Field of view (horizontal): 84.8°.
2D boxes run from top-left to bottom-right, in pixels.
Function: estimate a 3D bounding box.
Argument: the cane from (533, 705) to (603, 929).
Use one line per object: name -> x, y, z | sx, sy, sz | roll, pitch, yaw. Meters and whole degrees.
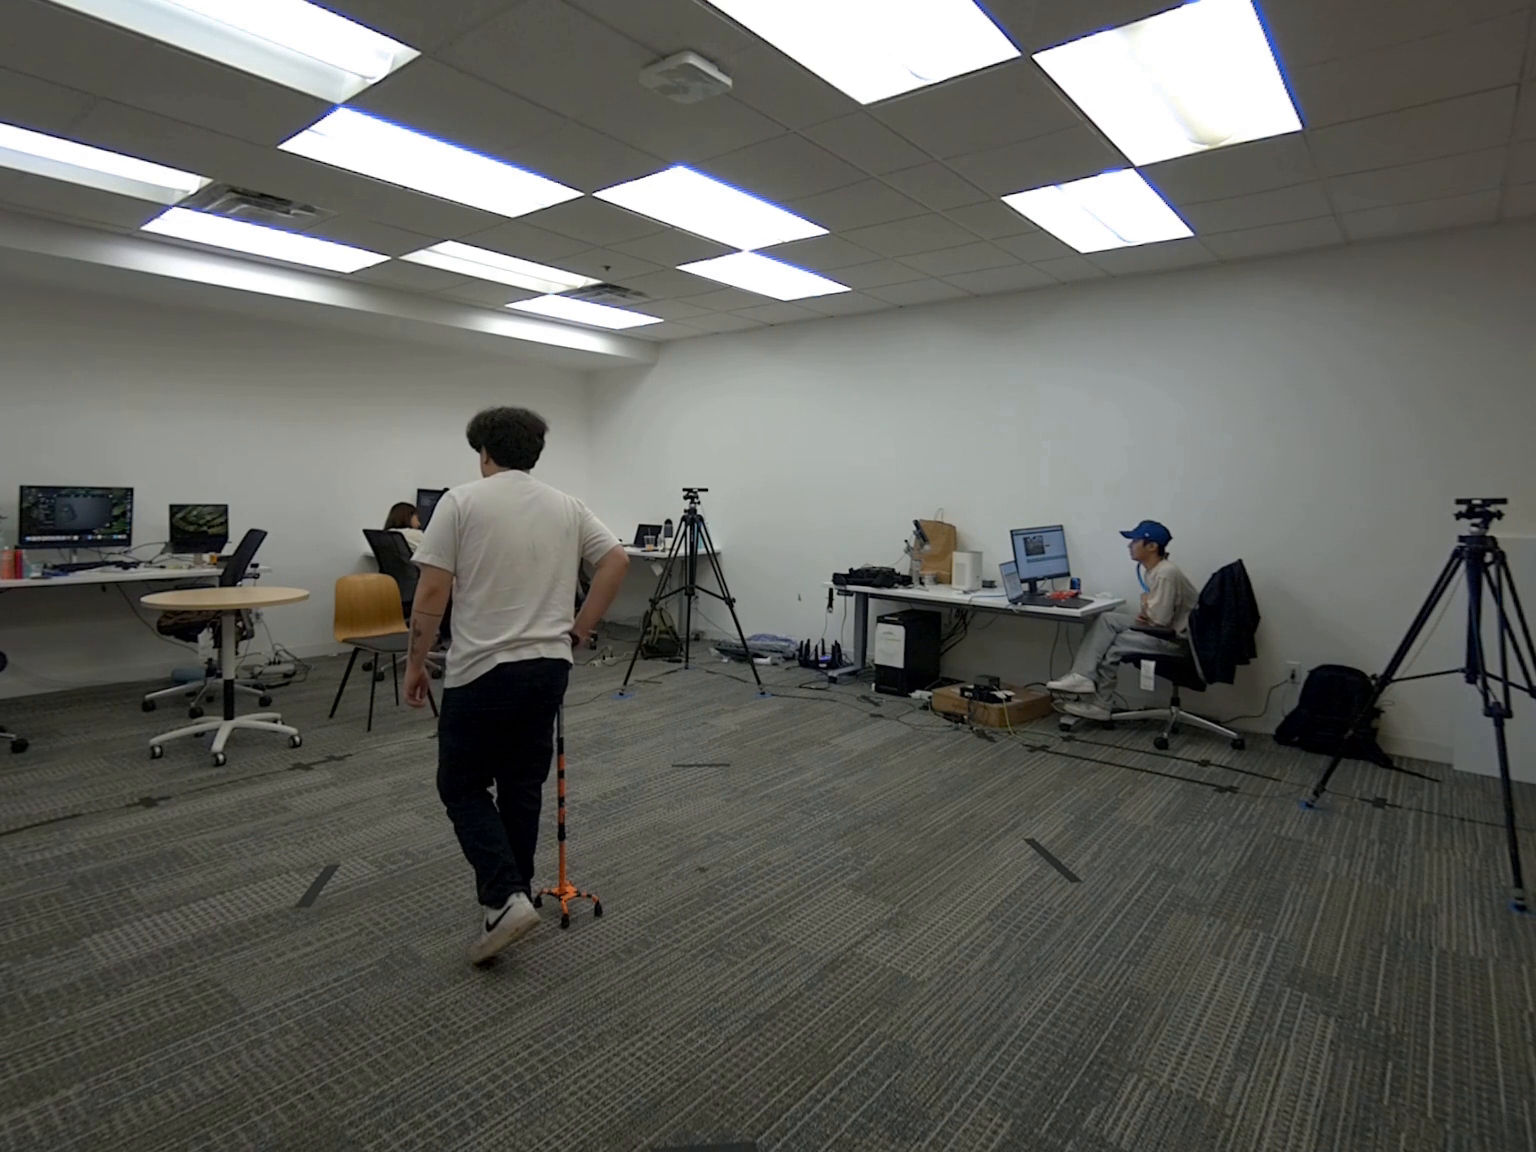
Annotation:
cane -> -0.663, 0.640, 2.794 | 0.147, 0.908, 0.213 | 2, -1, -40
